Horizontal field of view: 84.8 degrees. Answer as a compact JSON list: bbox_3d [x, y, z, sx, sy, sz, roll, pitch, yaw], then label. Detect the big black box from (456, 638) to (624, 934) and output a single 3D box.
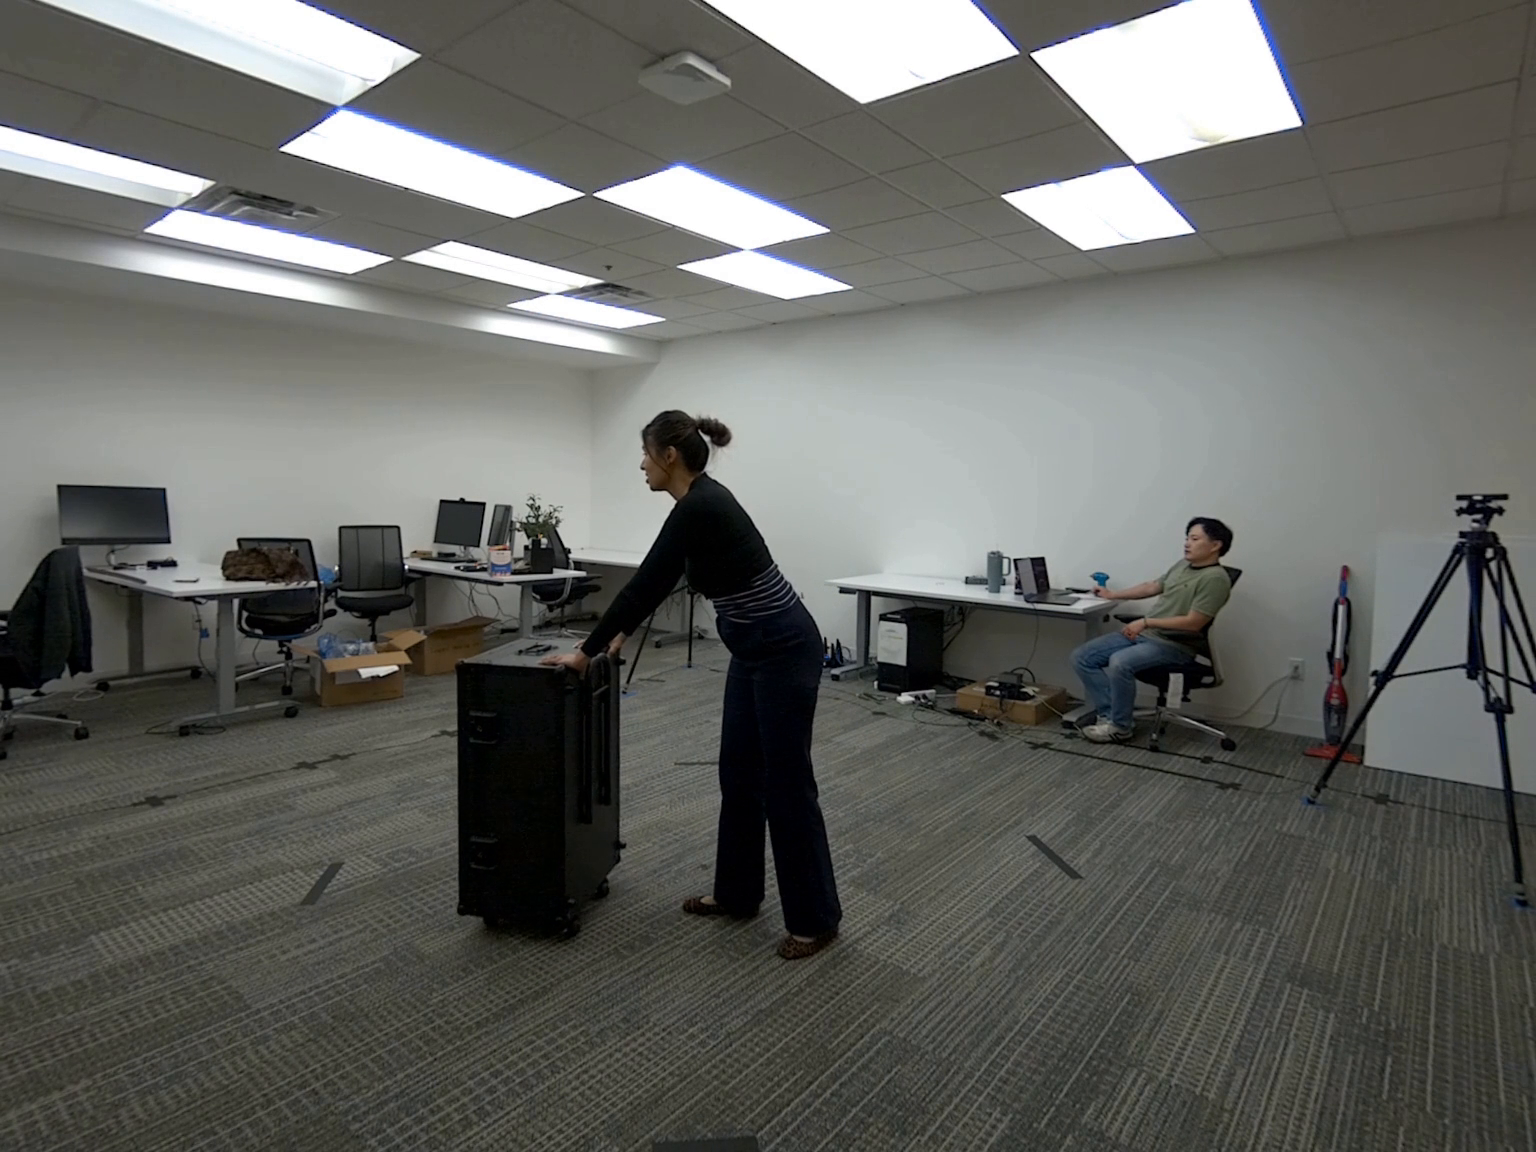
[{"bbox_3d":[-0.730,0.669,2.788,0.402,0.859,0.516,2,4,11],"label":"big black box"}]
